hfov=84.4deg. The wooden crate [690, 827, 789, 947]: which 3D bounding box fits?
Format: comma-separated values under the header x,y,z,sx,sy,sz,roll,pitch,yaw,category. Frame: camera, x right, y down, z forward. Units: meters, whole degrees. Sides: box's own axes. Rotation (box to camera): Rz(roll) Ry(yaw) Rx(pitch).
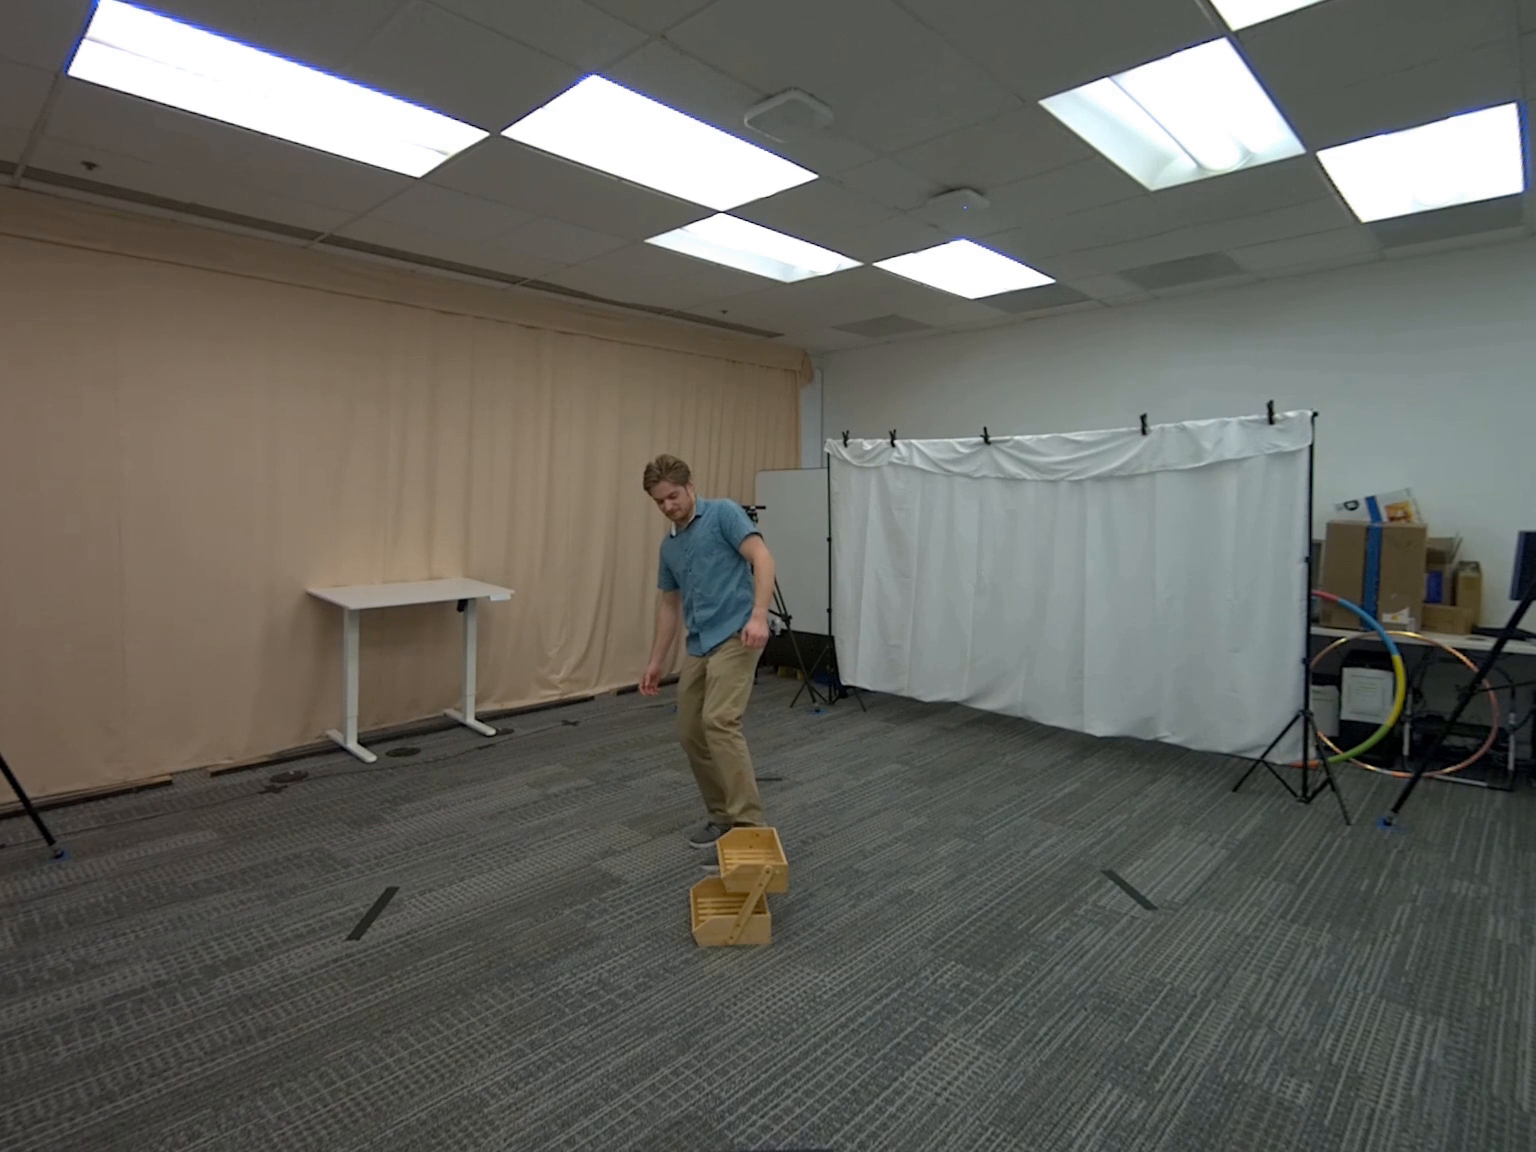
x,y,z,sx,sy,sz,roll,pitch,yaw,category
-0.113,1.022,2.812,0.300,0.273,0.327,0,4,-6,wooden crate
